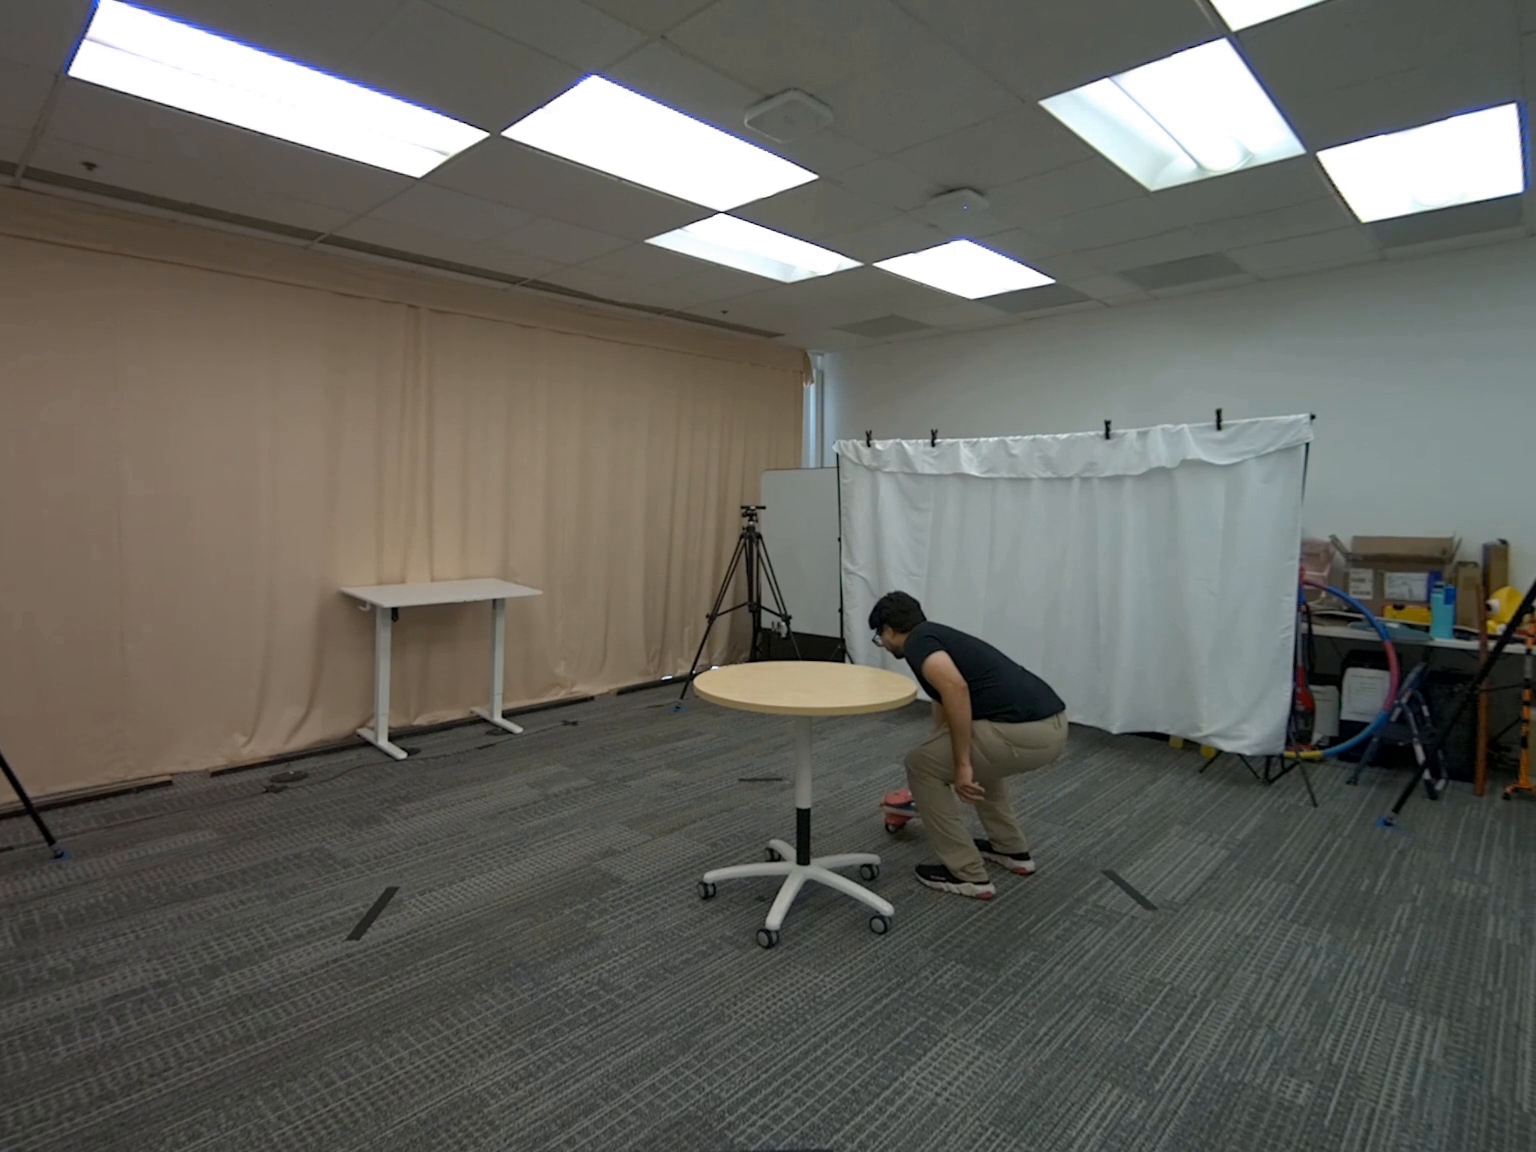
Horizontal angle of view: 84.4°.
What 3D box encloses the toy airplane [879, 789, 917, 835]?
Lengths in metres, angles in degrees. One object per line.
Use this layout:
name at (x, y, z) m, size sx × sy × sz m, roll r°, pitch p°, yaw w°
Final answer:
toy airplane at (0.620, 1.000, 3.587) m, size 0.260 × 0.157 × 0.248 m, roll -13°, pitch -7°, yaw 3°
